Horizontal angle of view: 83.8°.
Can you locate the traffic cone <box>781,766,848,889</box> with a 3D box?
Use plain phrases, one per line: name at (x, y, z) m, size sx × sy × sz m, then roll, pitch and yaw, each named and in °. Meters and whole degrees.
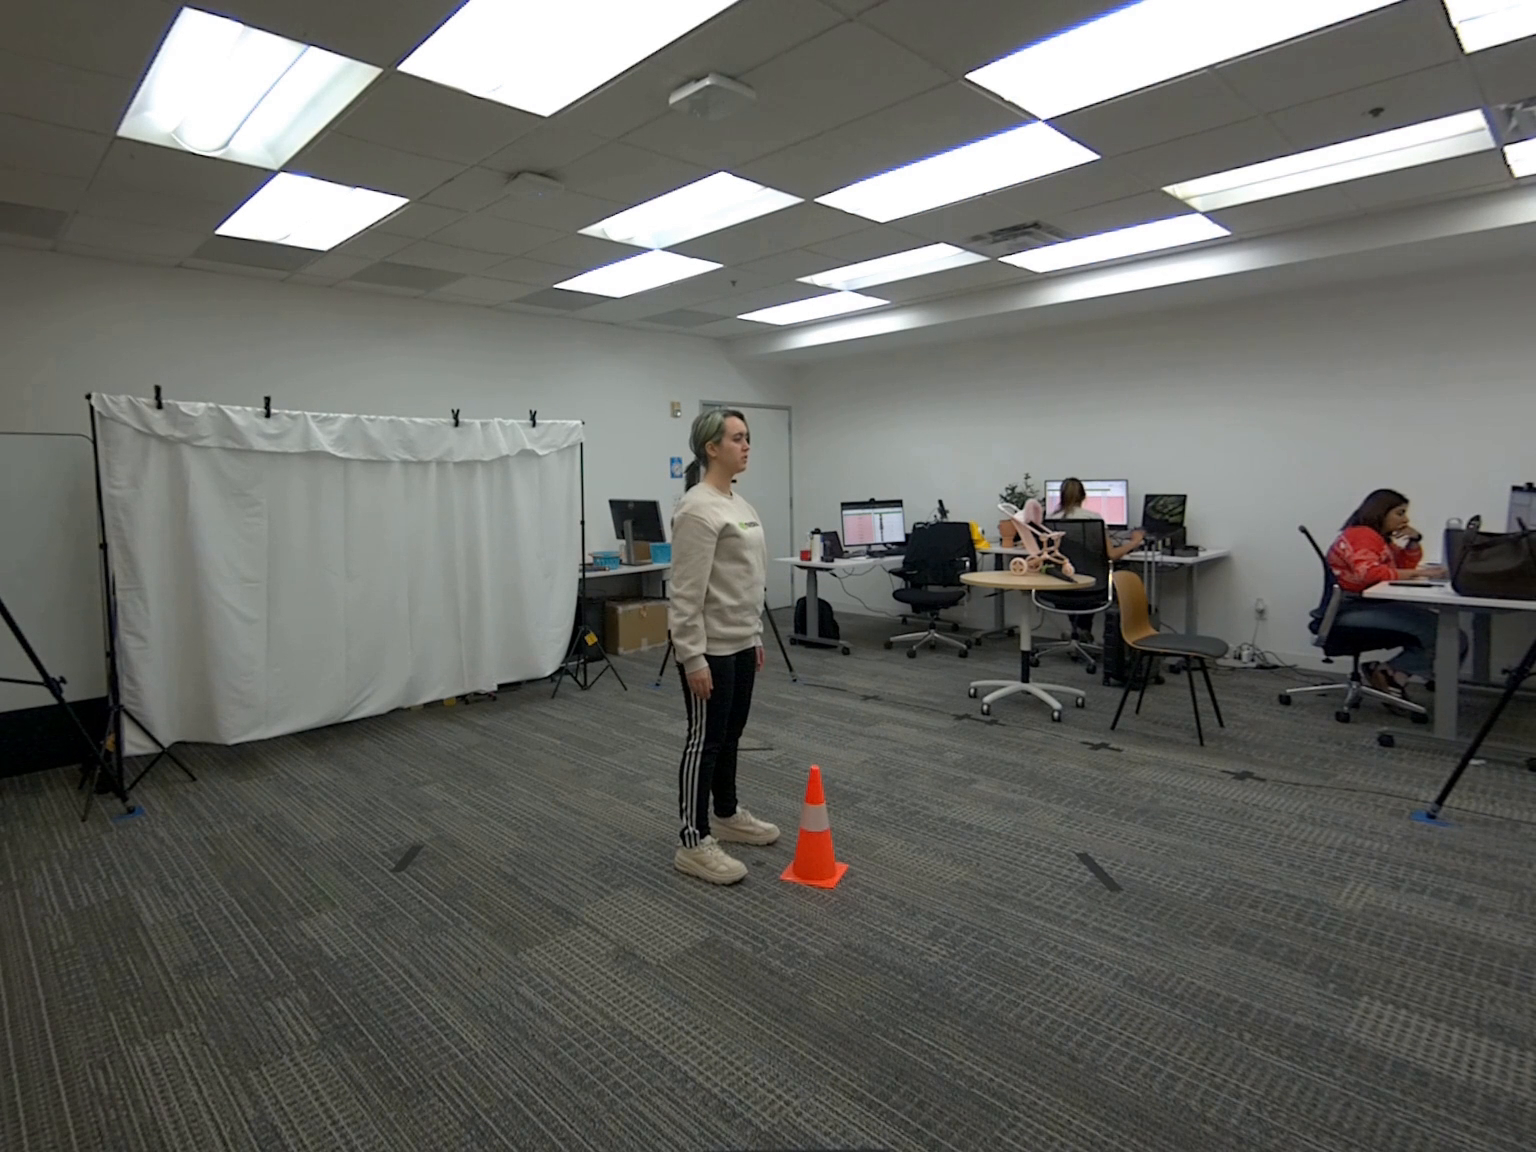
traffic cone at (0.160, 0.864, 3.019) m, size 0.208 × 0.382 × 0.201 m, roll 1°, pitch 5°, yaw 24°
